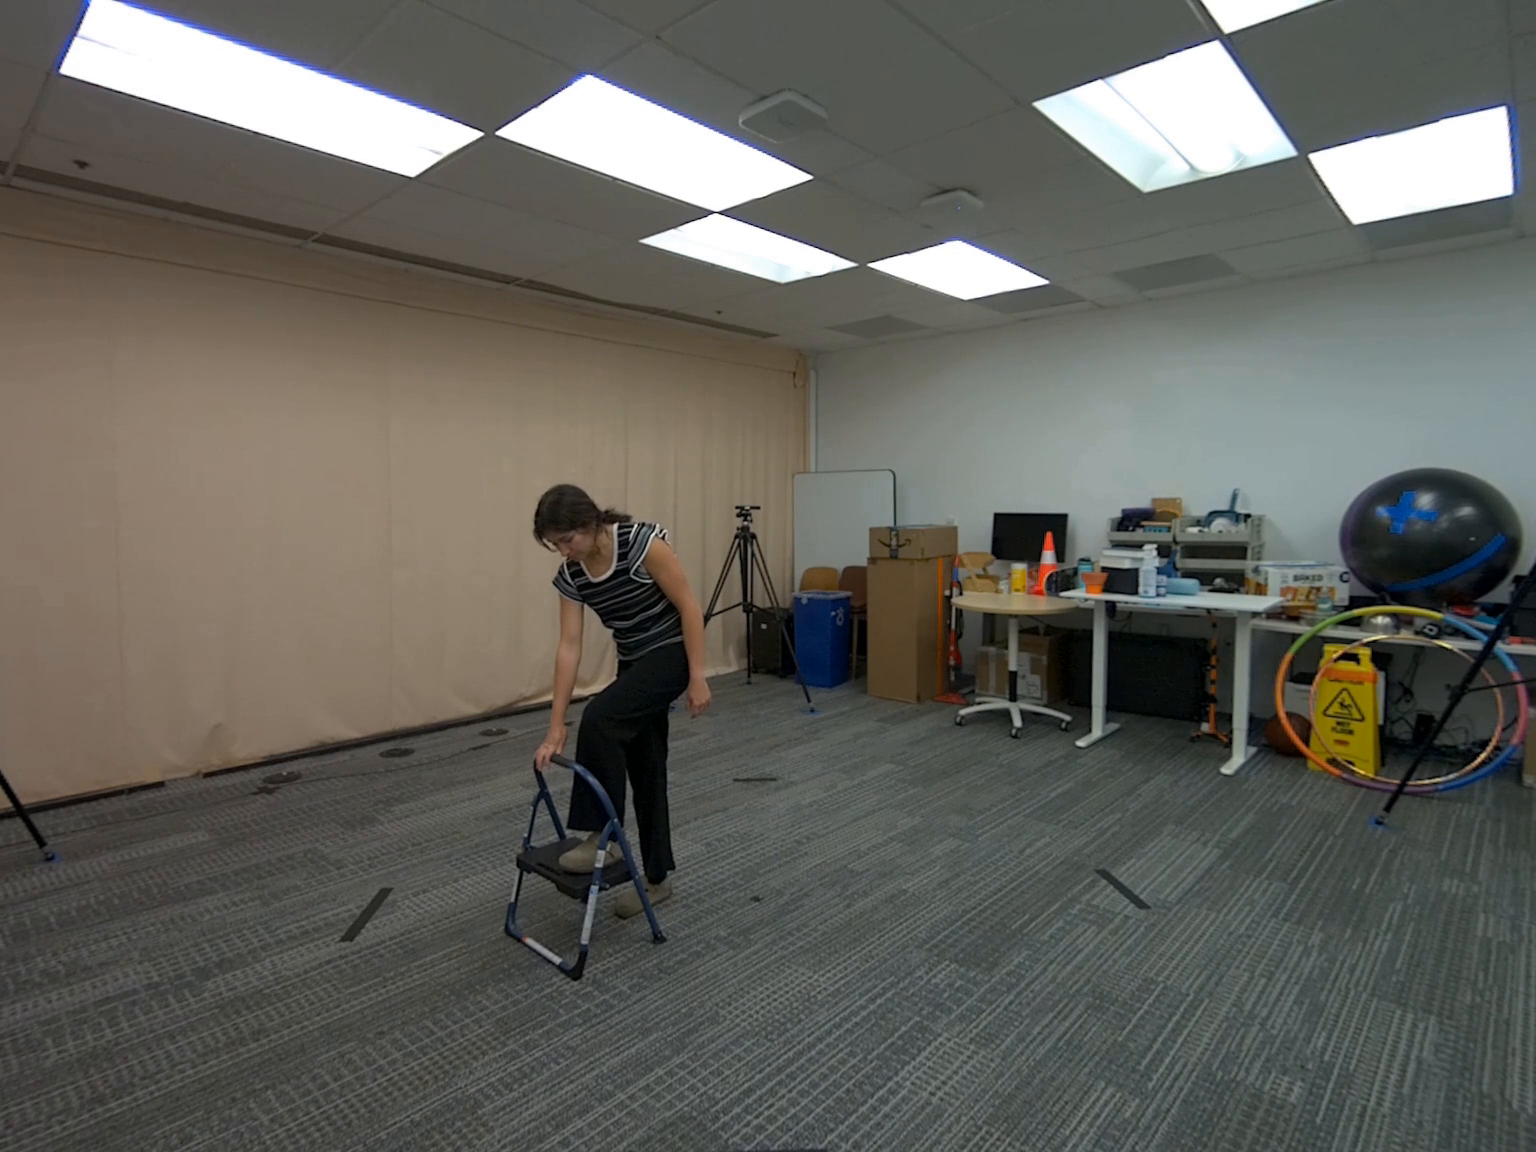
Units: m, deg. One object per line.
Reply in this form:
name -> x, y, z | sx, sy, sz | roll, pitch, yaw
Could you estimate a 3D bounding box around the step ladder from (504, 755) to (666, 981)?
step ladder -> -0.606, 0.869, 2.714 | 0.445, 0.605, 0.338 | 2, 4, 44
